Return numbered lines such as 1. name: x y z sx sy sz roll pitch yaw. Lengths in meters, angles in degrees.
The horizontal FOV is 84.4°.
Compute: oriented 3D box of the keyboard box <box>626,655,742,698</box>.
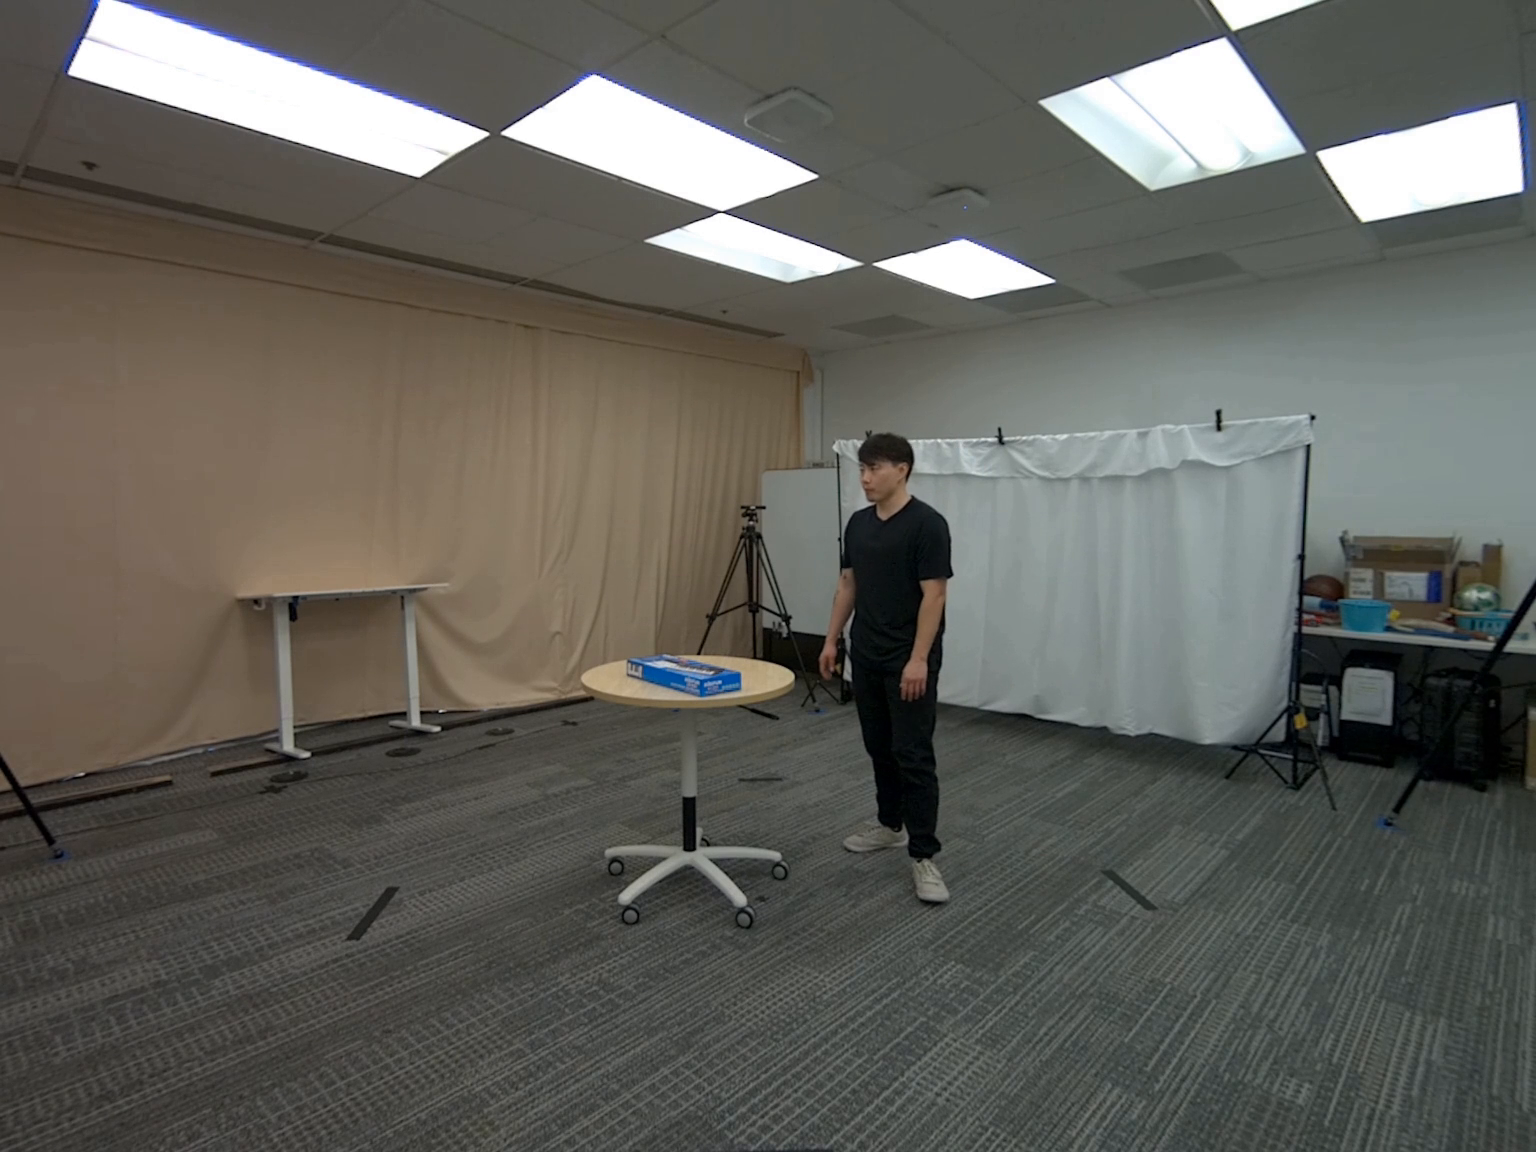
1. keyboard box: -0.297 0.341 2.911 0.170 0.059 0.451 -4 6 -41
